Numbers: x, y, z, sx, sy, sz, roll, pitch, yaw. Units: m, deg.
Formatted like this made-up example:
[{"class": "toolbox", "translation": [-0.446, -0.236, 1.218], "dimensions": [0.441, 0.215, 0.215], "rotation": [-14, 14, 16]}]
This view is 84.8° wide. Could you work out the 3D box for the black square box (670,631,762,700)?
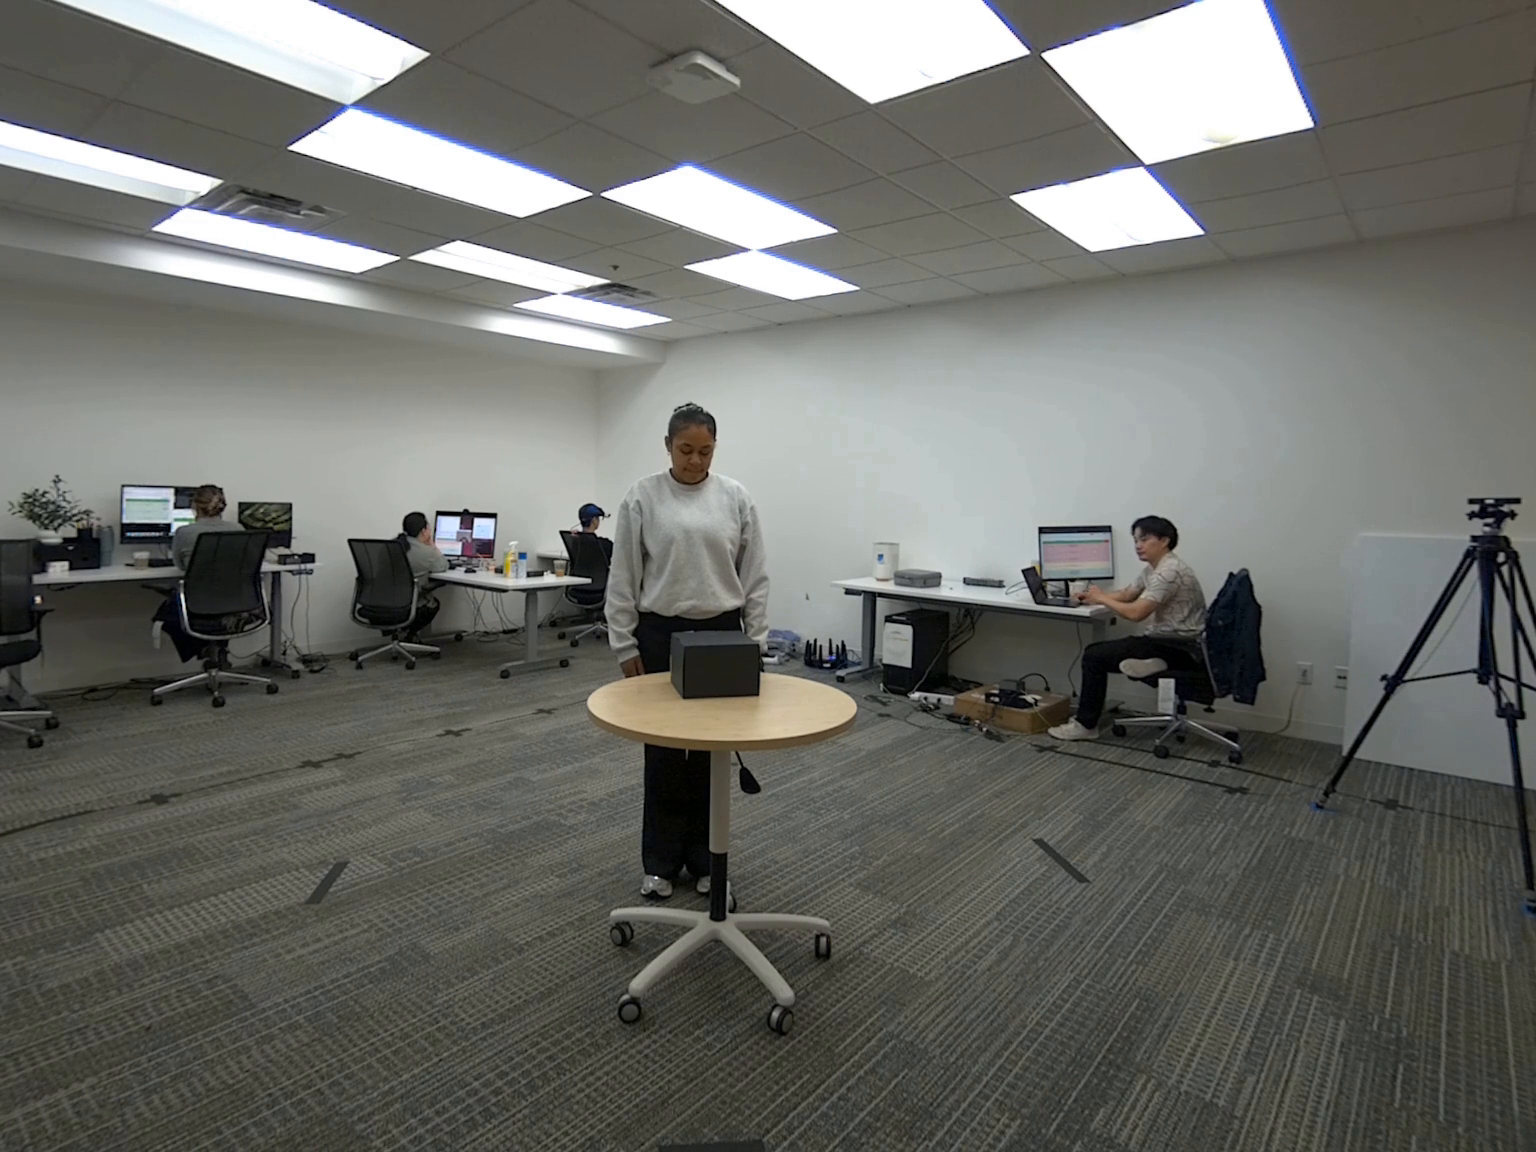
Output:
[{"class": "black square box", "translation": [-0.173, 0.256, 2.554], "dimensions": [0.224, 0.155, 0.221], "rotation": [-1, 5, -15]}]
